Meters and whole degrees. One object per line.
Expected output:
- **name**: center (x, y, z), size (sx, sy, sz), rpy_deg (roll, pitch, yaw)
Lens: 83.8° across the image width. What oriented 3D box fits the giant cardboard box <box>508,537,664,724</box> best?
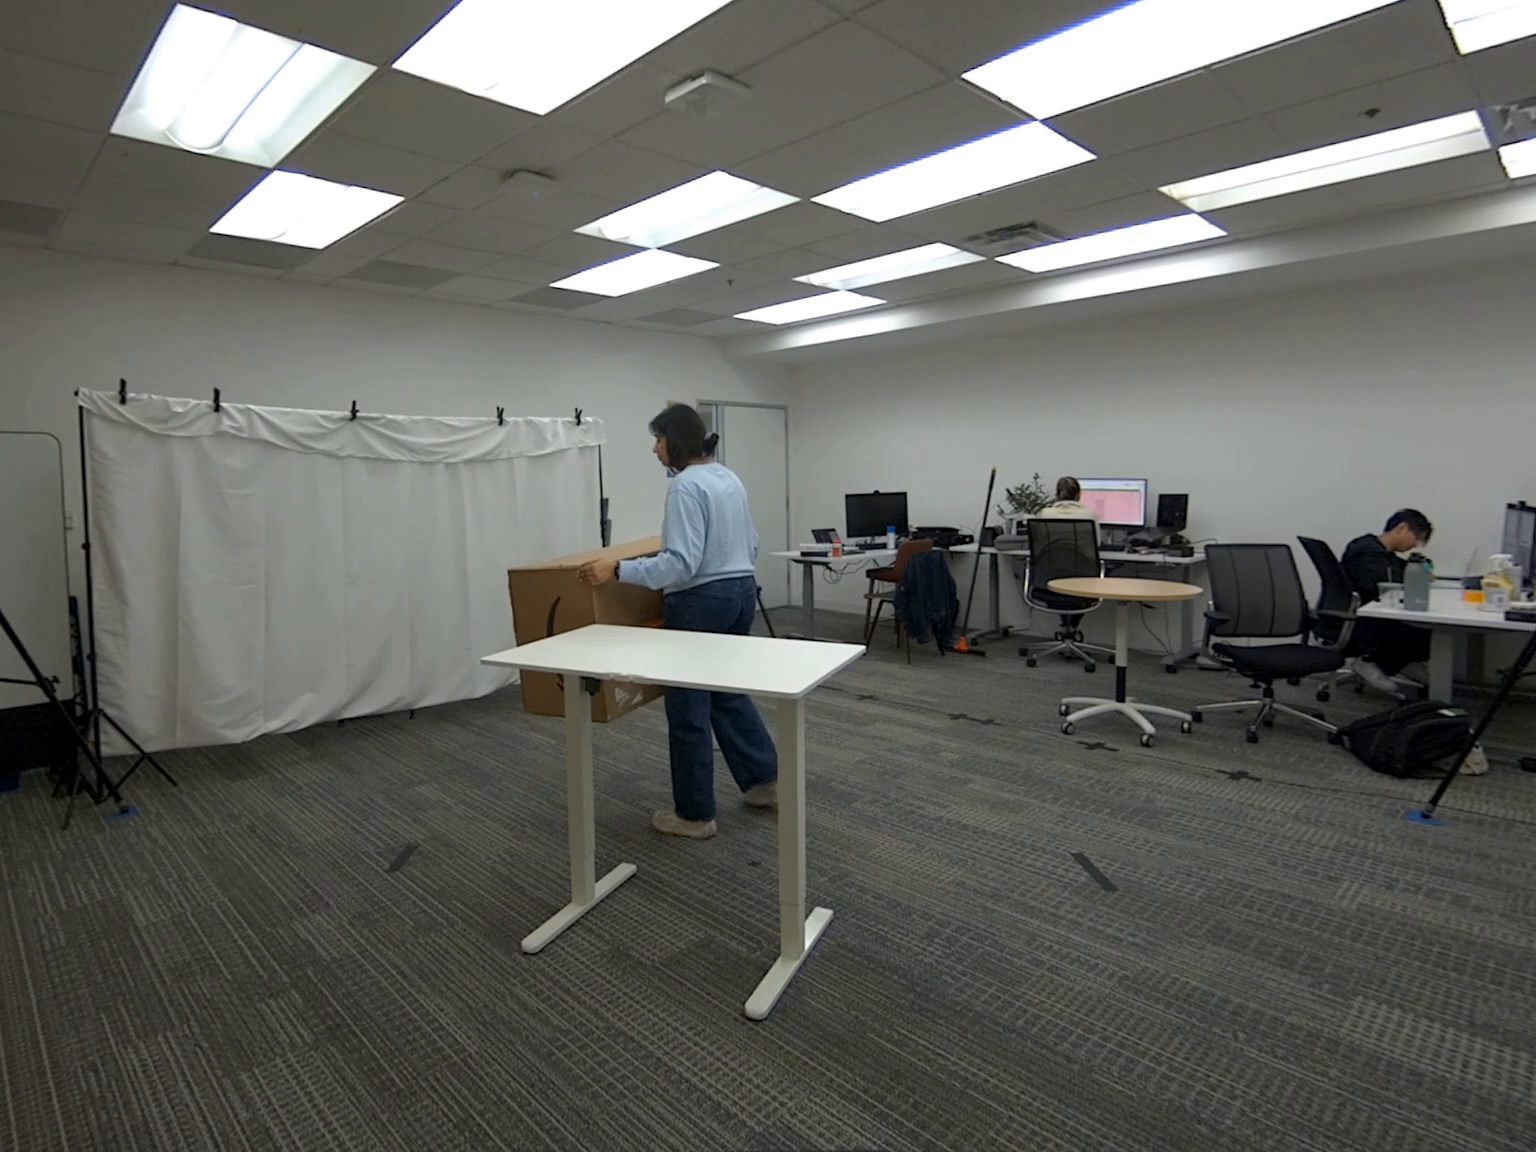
- **giant cardboard box**: center (-0.542, 0.167, 3.617), size (0.437, 0.573, 1.007), rpy_deg (-1, 9, 31)
